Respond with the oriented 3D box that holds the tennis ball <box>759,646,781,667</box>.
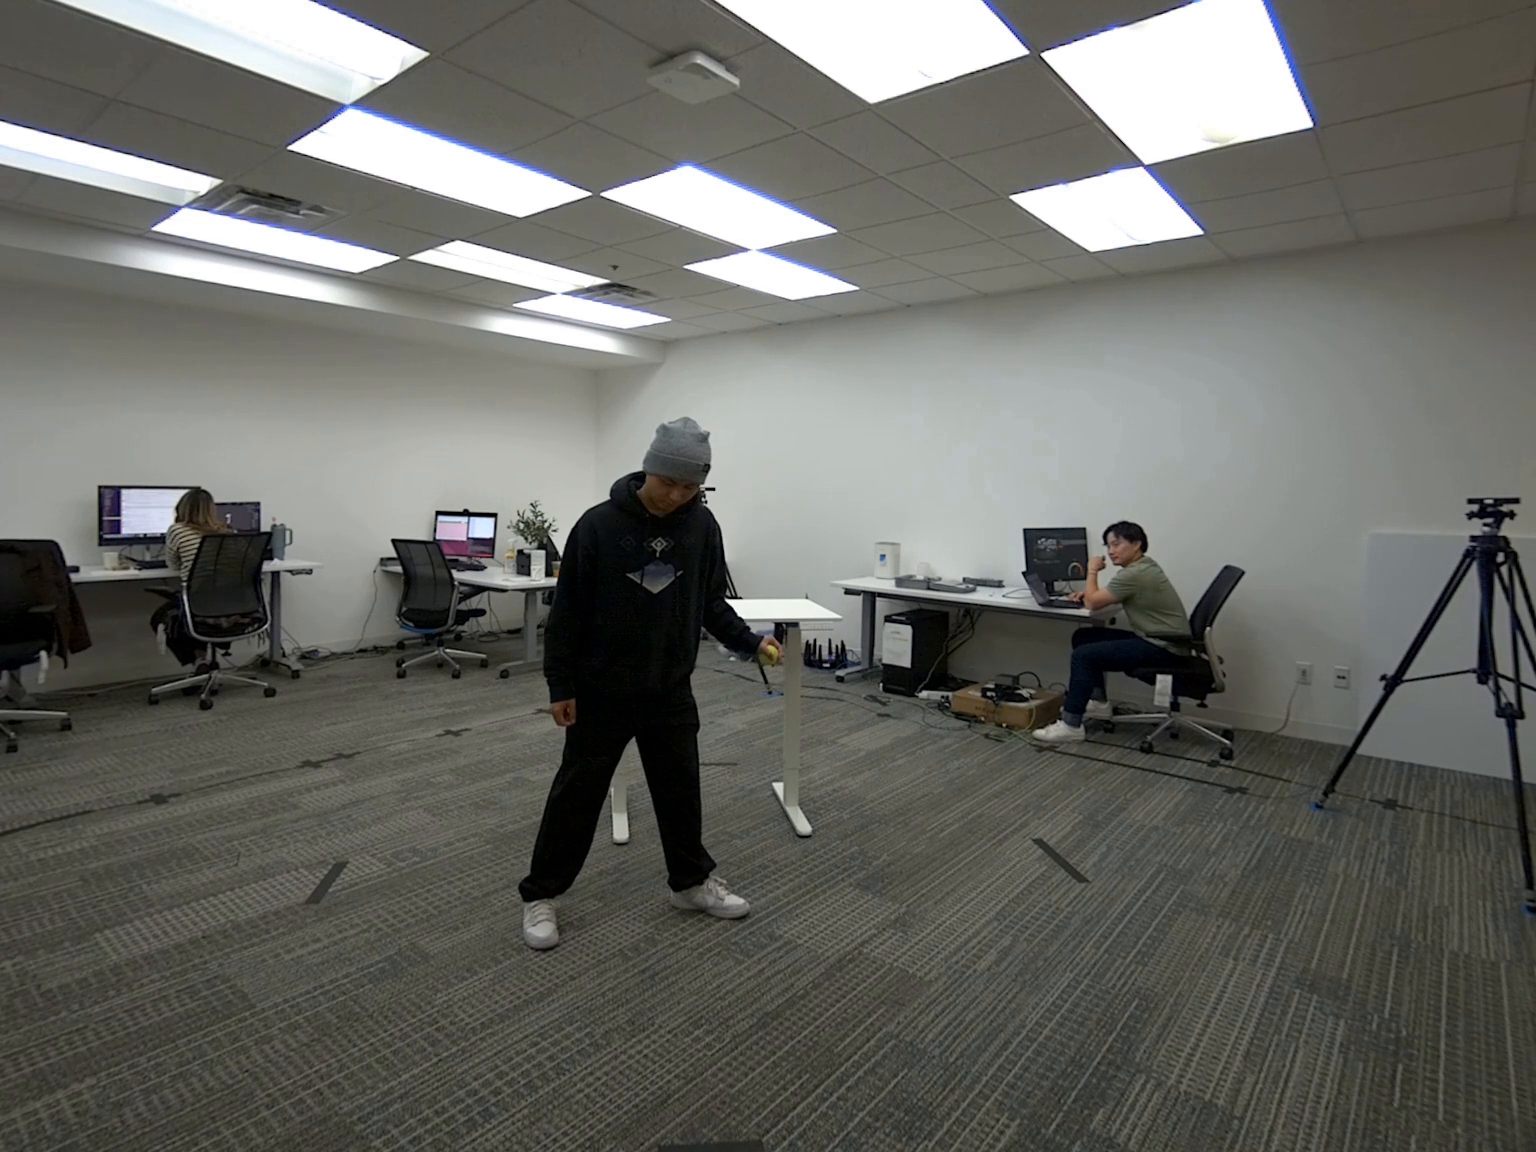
[{"bbox_3d":[-0.012,0.243,2.873,0.066,0.066,0.067,1,4,-2],"label":"tennis ball"}]
